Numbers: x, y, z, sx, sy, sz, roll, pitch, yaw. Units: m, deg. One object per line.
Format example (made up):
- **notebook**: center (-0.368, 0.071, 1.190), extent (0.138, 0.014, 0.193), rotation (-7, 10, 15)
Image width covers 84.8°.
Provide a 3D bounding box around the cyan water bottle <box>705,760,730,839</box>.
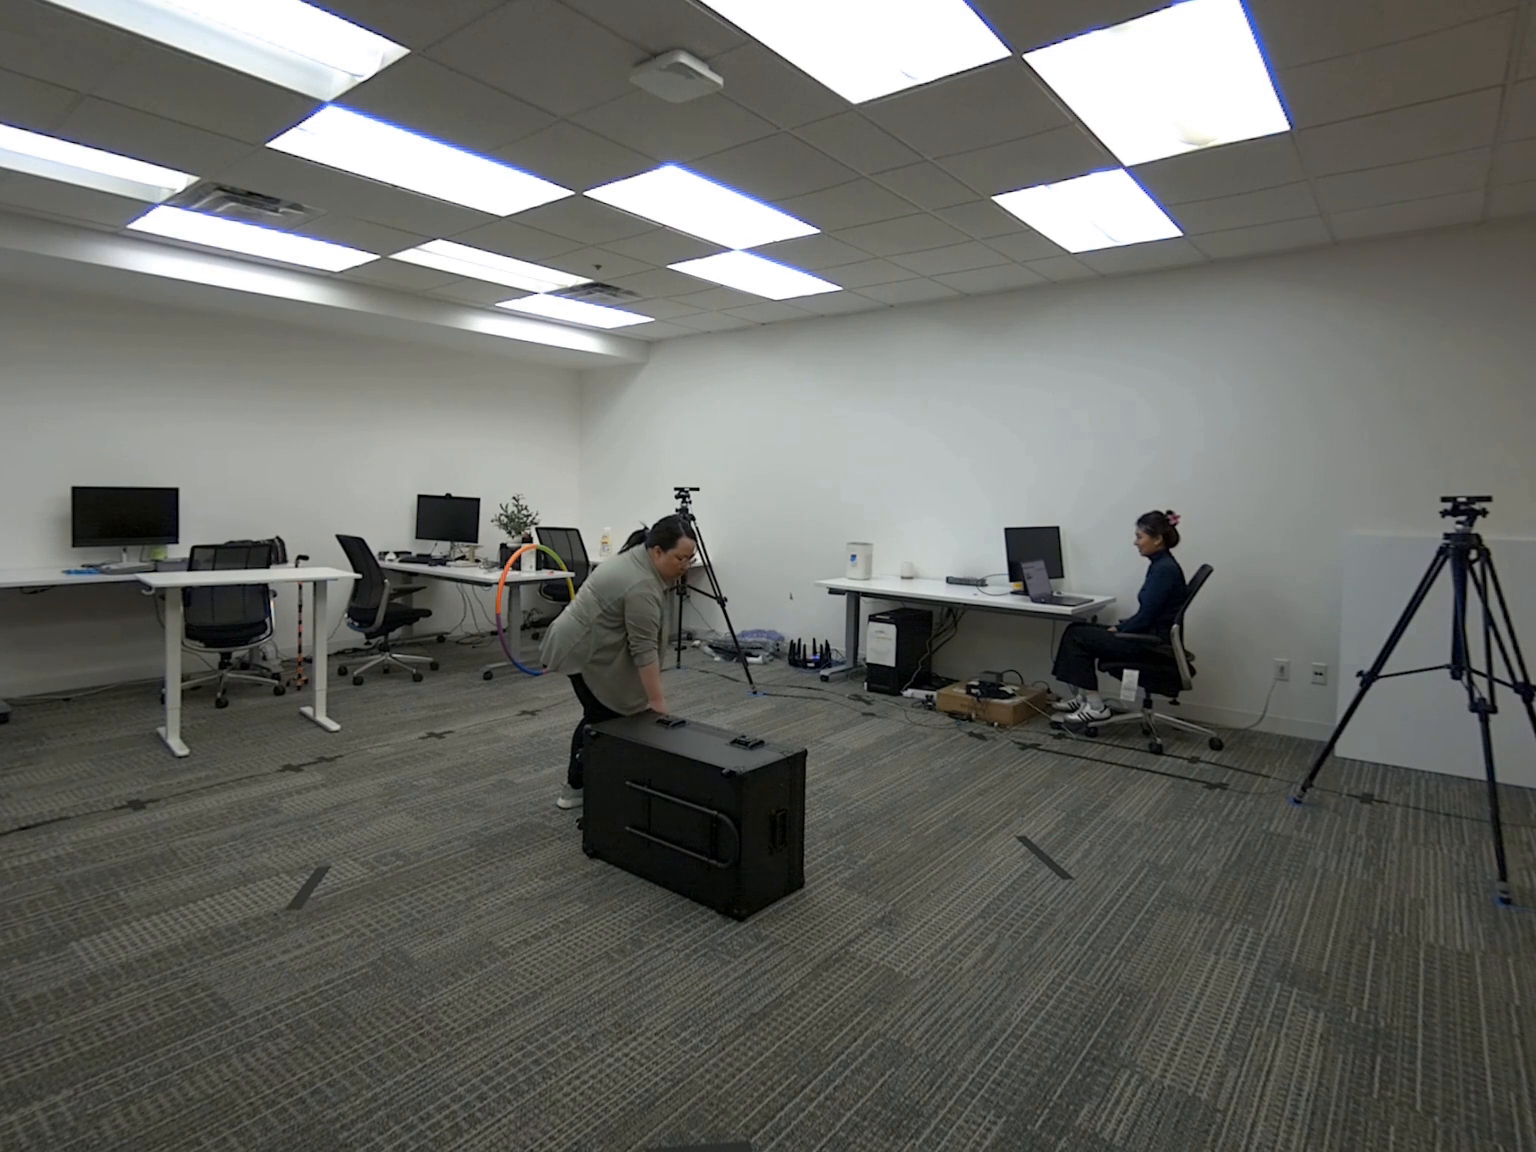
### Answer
- **cyan water bottle**: center (-0.204, 0.896, 3.380), extent (0.092, 0.283, 0.092), rotation (1, 1, -2)
